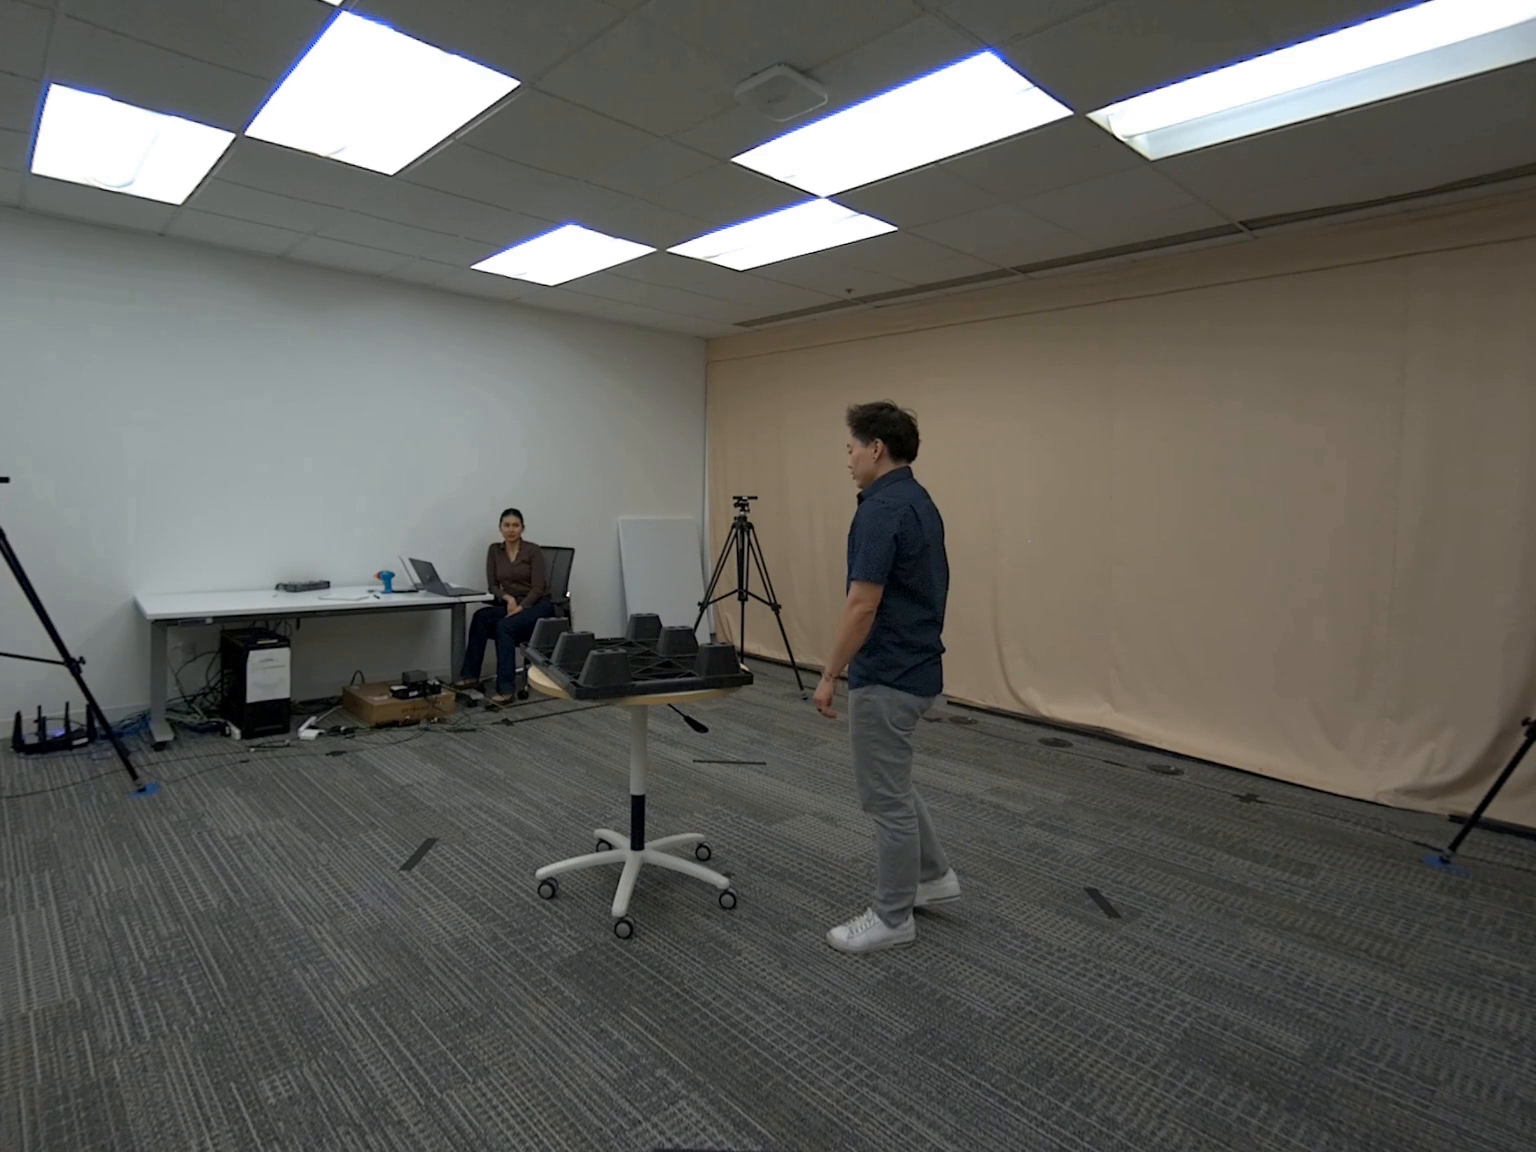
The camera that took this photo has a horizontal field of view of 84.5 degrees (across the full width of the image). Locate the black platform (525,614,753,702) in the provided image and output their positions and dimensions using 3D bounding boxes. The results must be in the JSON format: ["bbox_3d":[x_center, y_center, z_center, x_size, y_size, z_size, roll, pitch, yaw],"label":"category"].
[{"bbox_3d":[-0.502,0.263,2.967,0.593,0.143,0.824,-1,6,-28],"label":"black platform"}]
